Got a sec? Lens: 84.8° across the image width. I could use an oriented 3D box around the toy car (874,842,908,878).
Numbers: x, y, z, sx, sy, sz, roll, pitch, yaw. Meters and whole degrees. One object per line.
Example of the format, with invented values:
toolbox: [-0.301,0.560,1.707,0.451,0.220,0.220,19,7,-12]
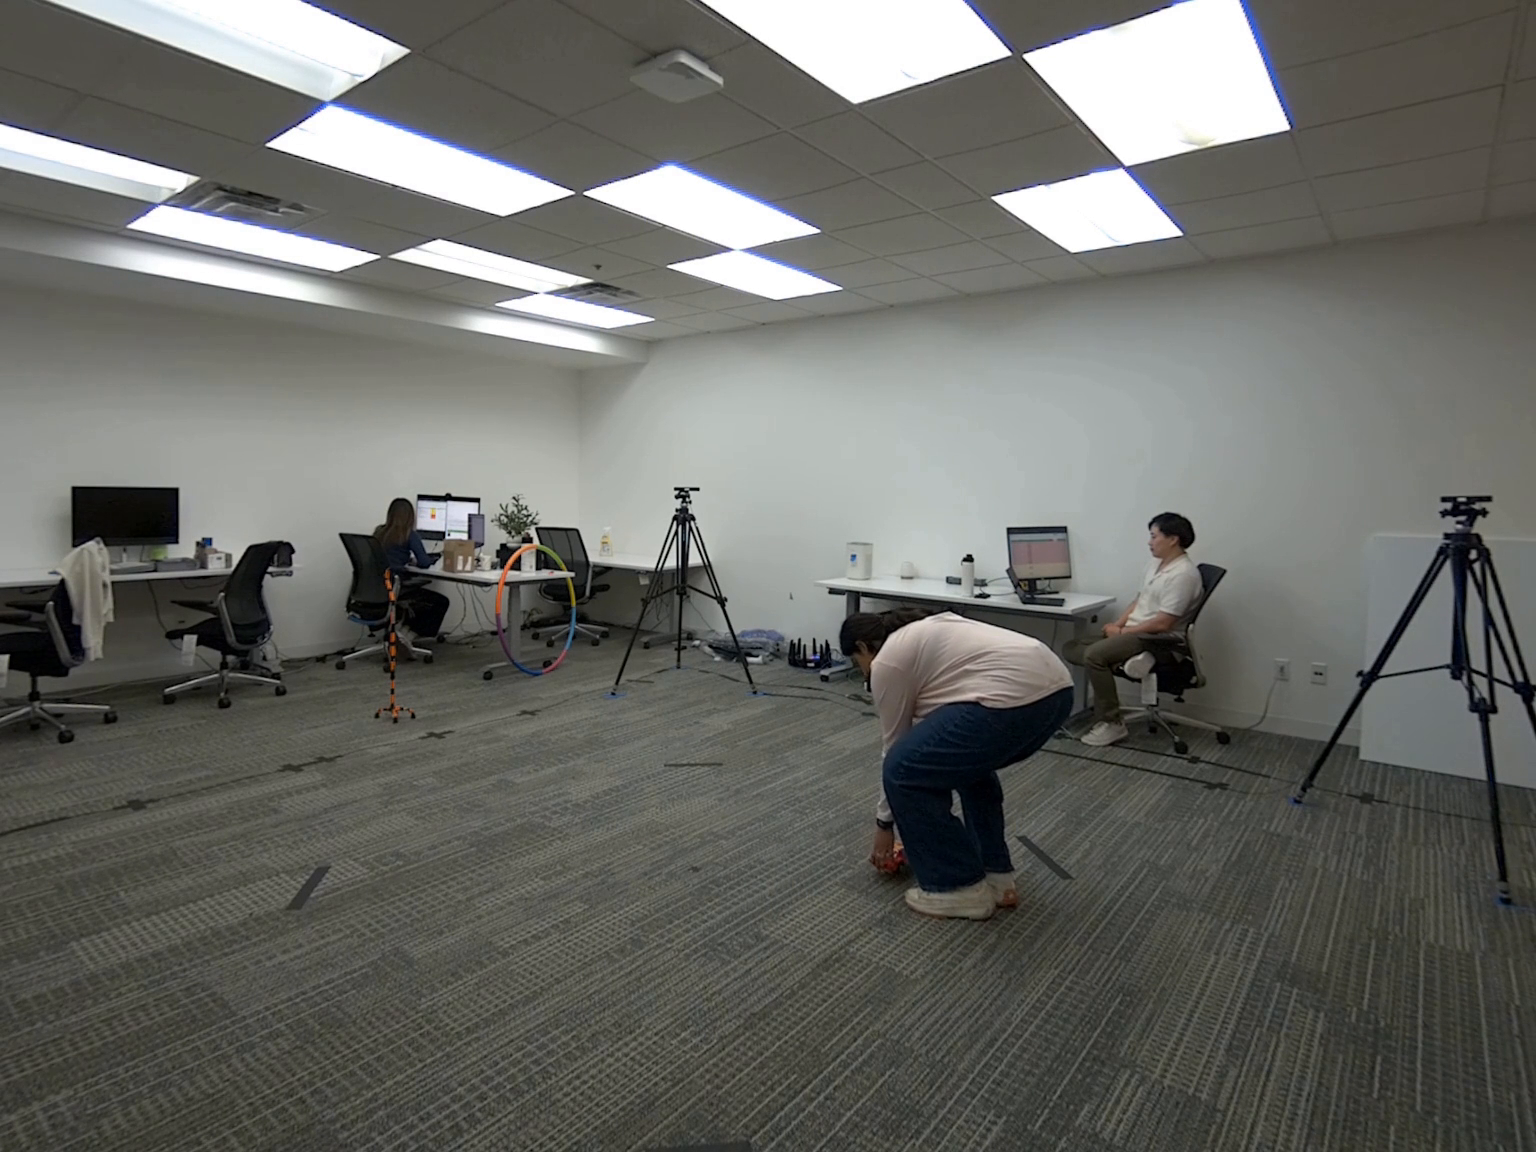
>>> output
toy car: [0.458,1.017,3.120,0.135,0.083,0.245,7,-3,42]
